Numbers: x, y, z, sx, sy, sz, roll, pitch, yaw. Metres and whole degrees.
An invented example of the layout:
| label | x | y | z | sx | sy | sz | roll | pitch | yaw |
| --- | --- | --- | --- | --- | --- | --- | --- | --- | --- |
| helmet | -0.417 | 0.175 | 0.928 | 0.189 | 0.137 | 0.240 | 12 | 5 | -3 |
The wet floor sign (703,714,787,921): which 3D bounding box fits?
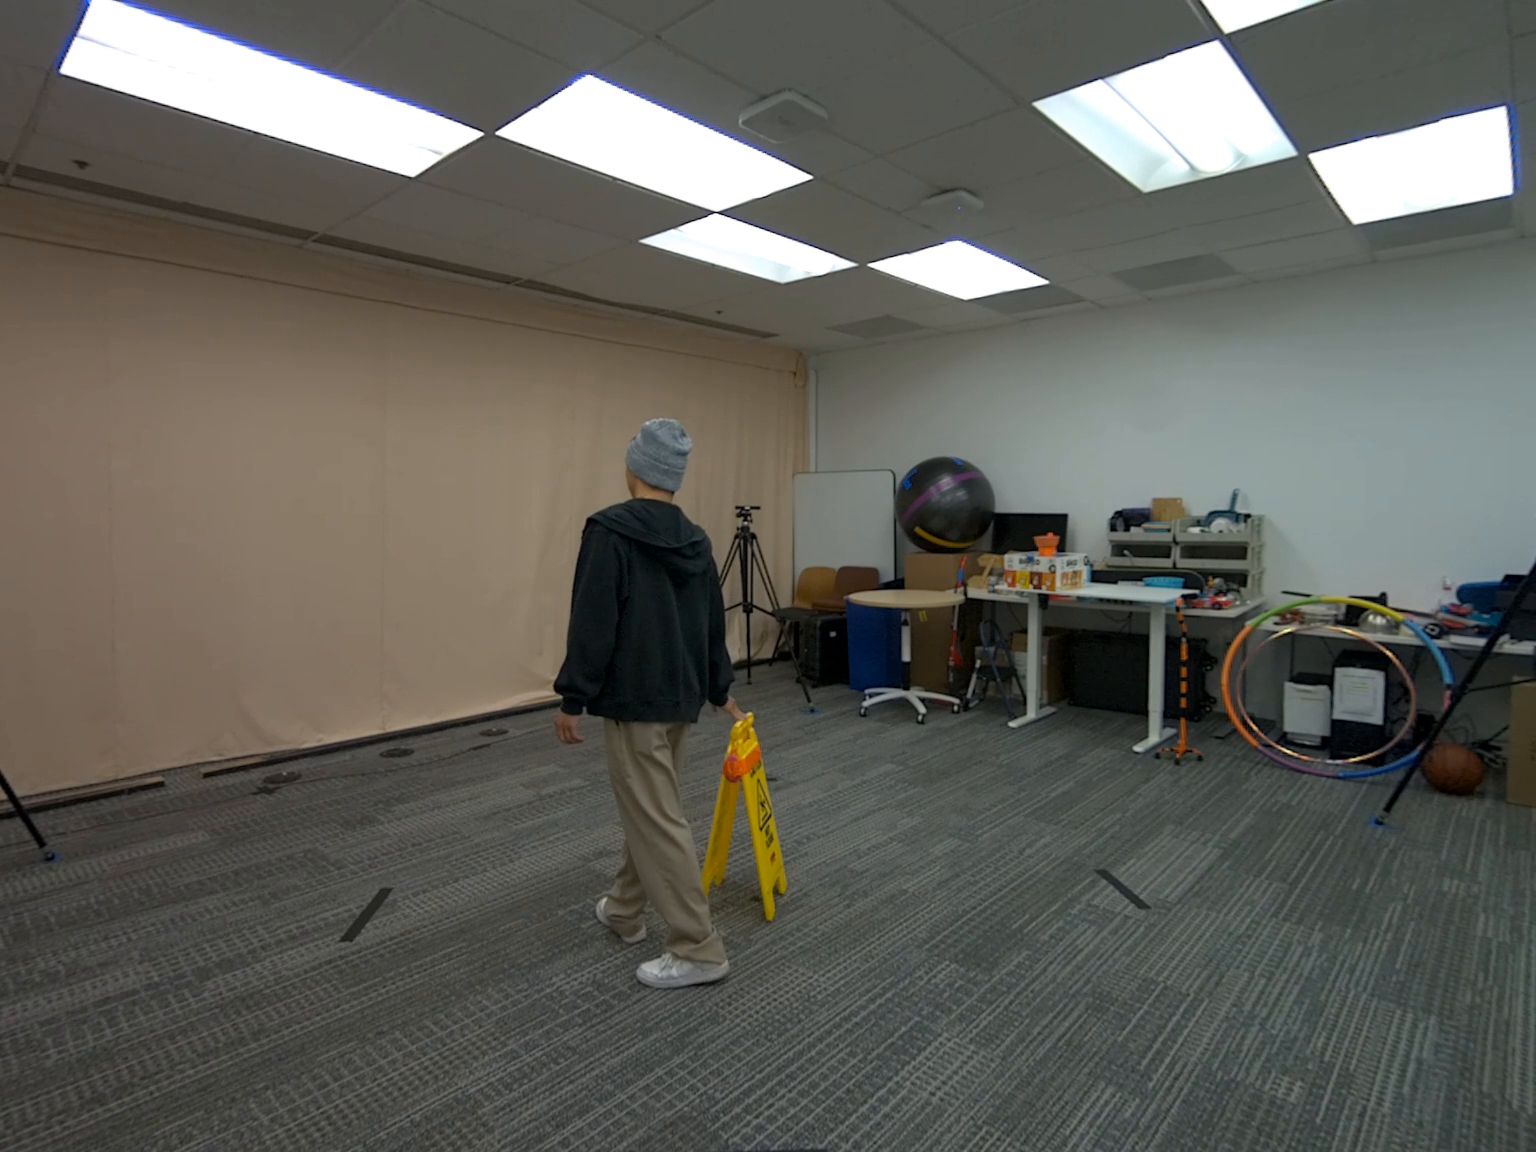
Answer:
| label | x | y | z | sx | sy | sz | roll | pitch | yaw |
| --- | --- | --- | --- | --- | --- | --- | --- | --- | --- |
| wet floor sign | -0.089 | 0.820 | 2.964 | 0.294 | 0.645 | 0.278 | 0 | 2 | 15 |
